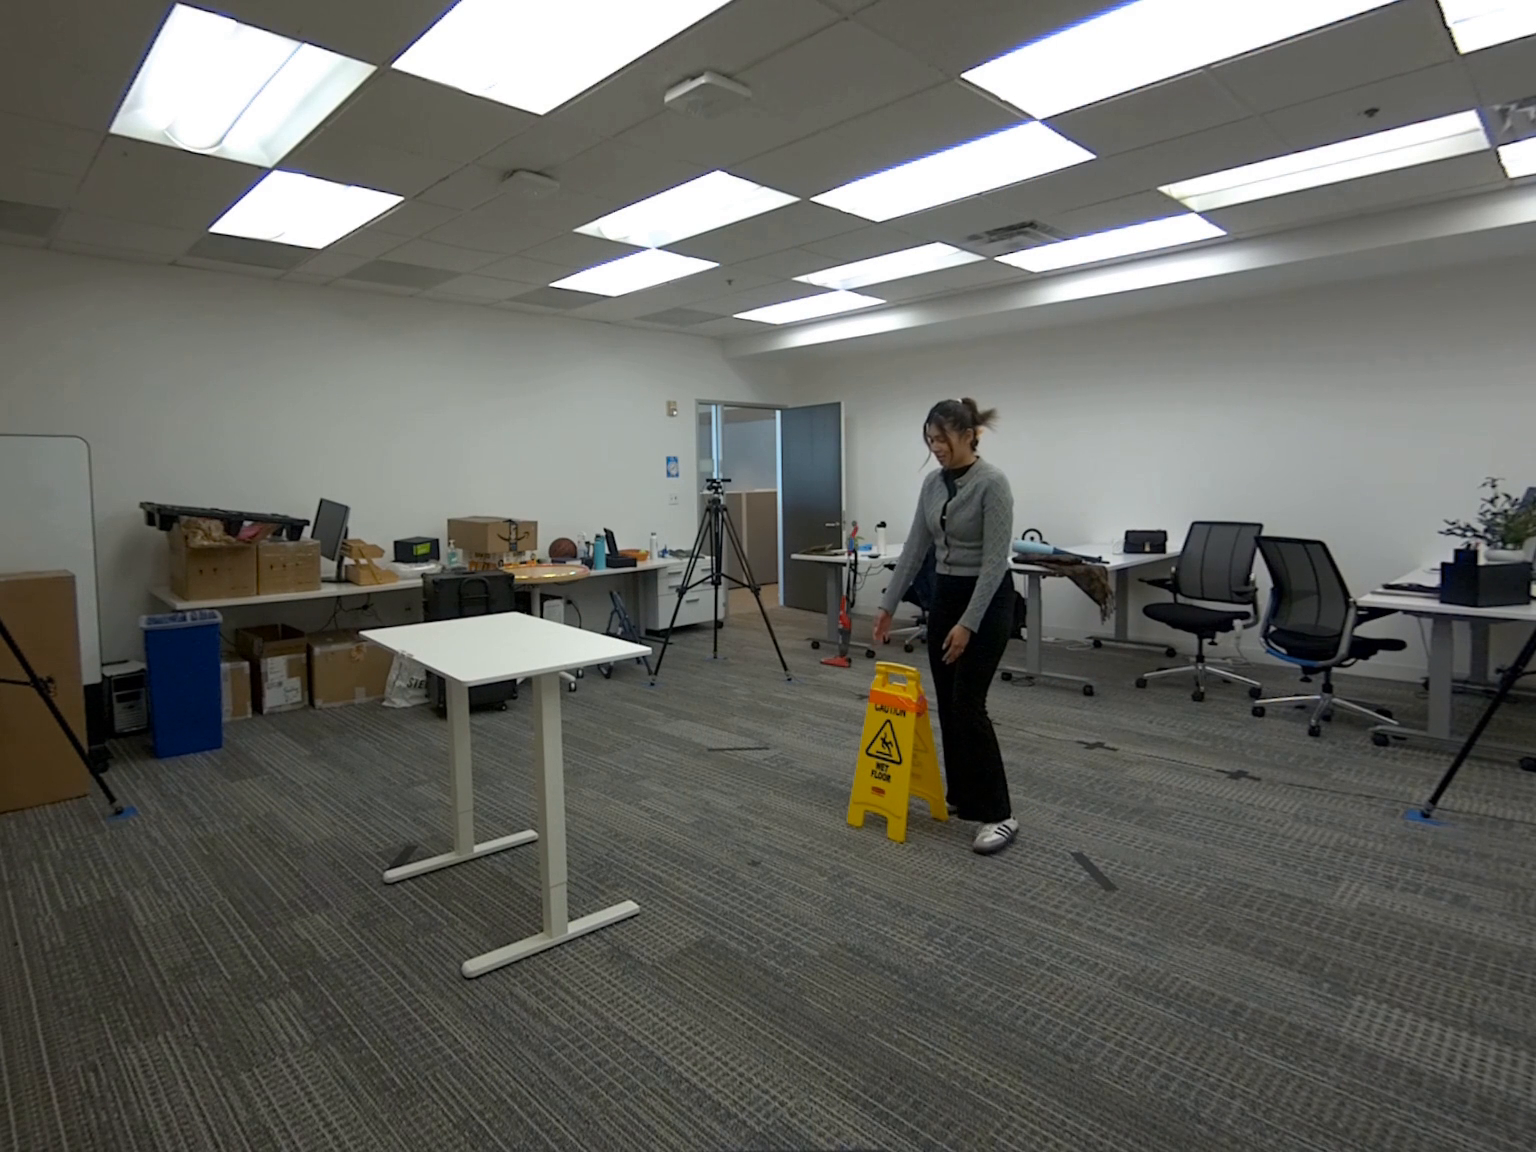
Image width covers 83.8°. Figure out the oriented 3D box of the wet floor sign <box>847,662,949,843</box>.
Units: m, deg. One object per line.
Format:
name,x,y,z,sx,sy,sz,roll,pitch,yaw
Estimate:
wet floor sign,0.520,0.677,3.442,0.282,0.644,0.291,-4,5,-44
